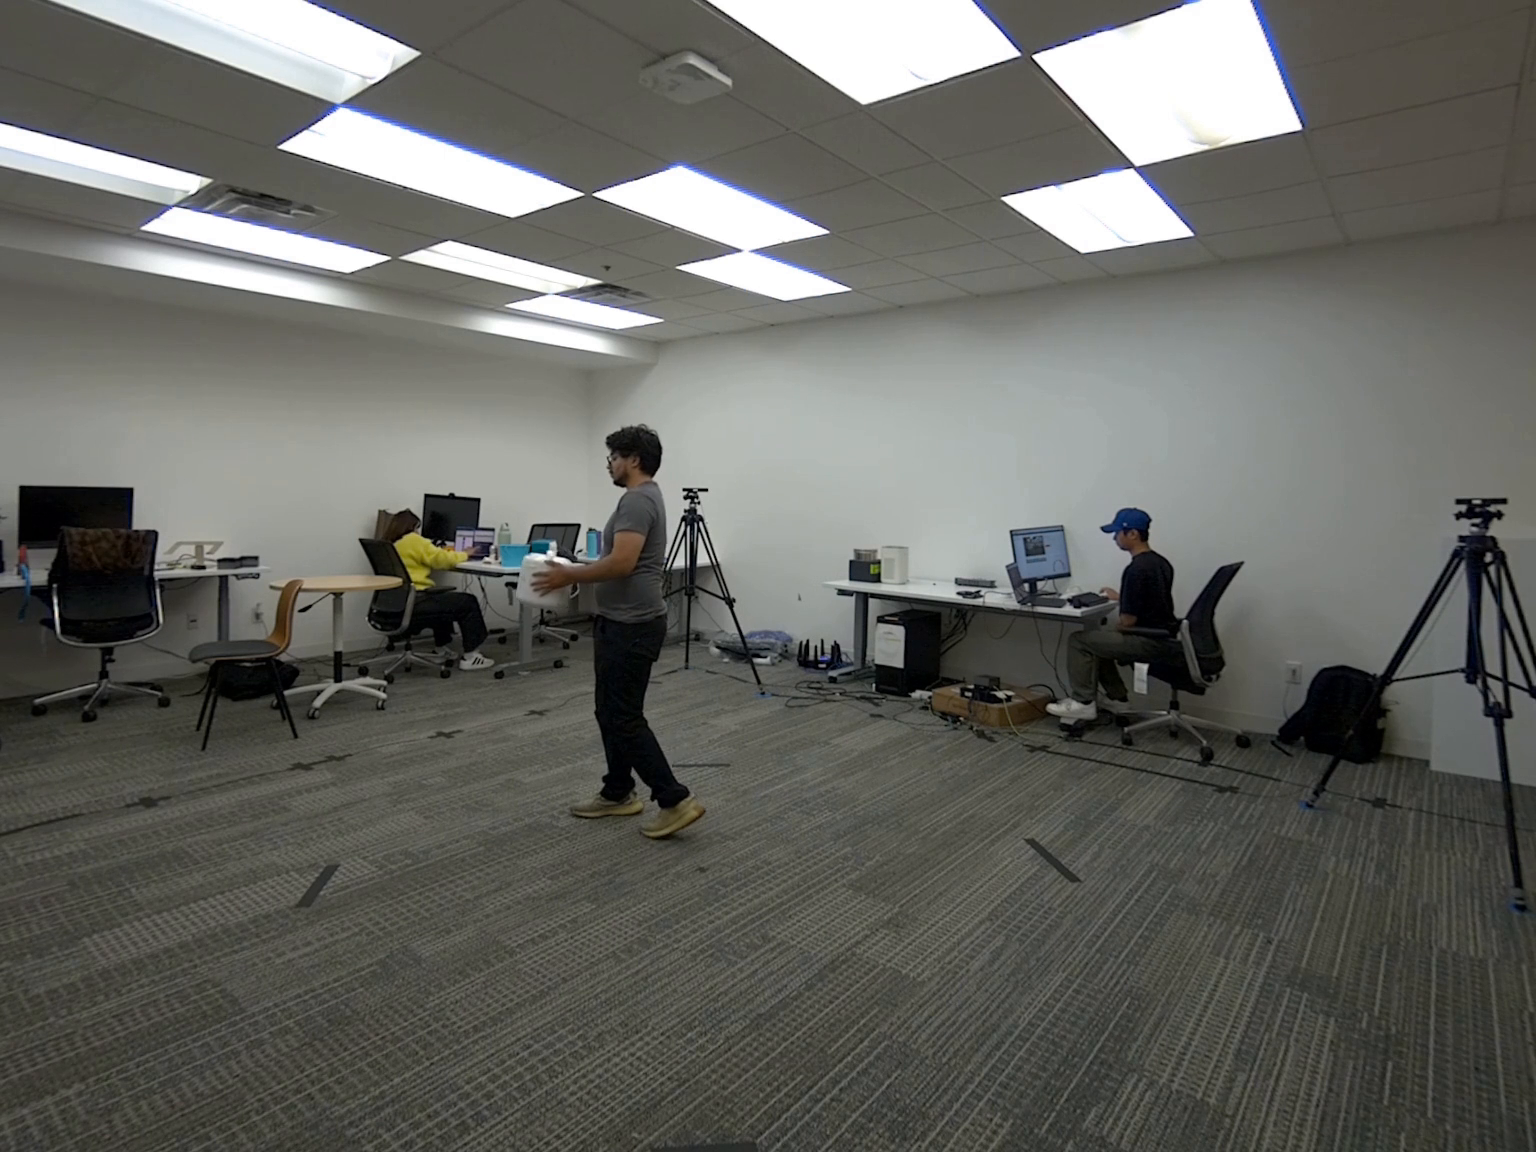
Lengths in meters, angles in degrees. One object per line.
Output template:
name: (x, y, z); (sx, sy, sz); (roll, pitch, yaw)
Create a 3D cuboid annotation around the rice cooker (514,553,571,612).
rice cooker: (-0.919, 0.009, 3.478); (0.214, 0.232, 0.224); (11, 2, -14)
